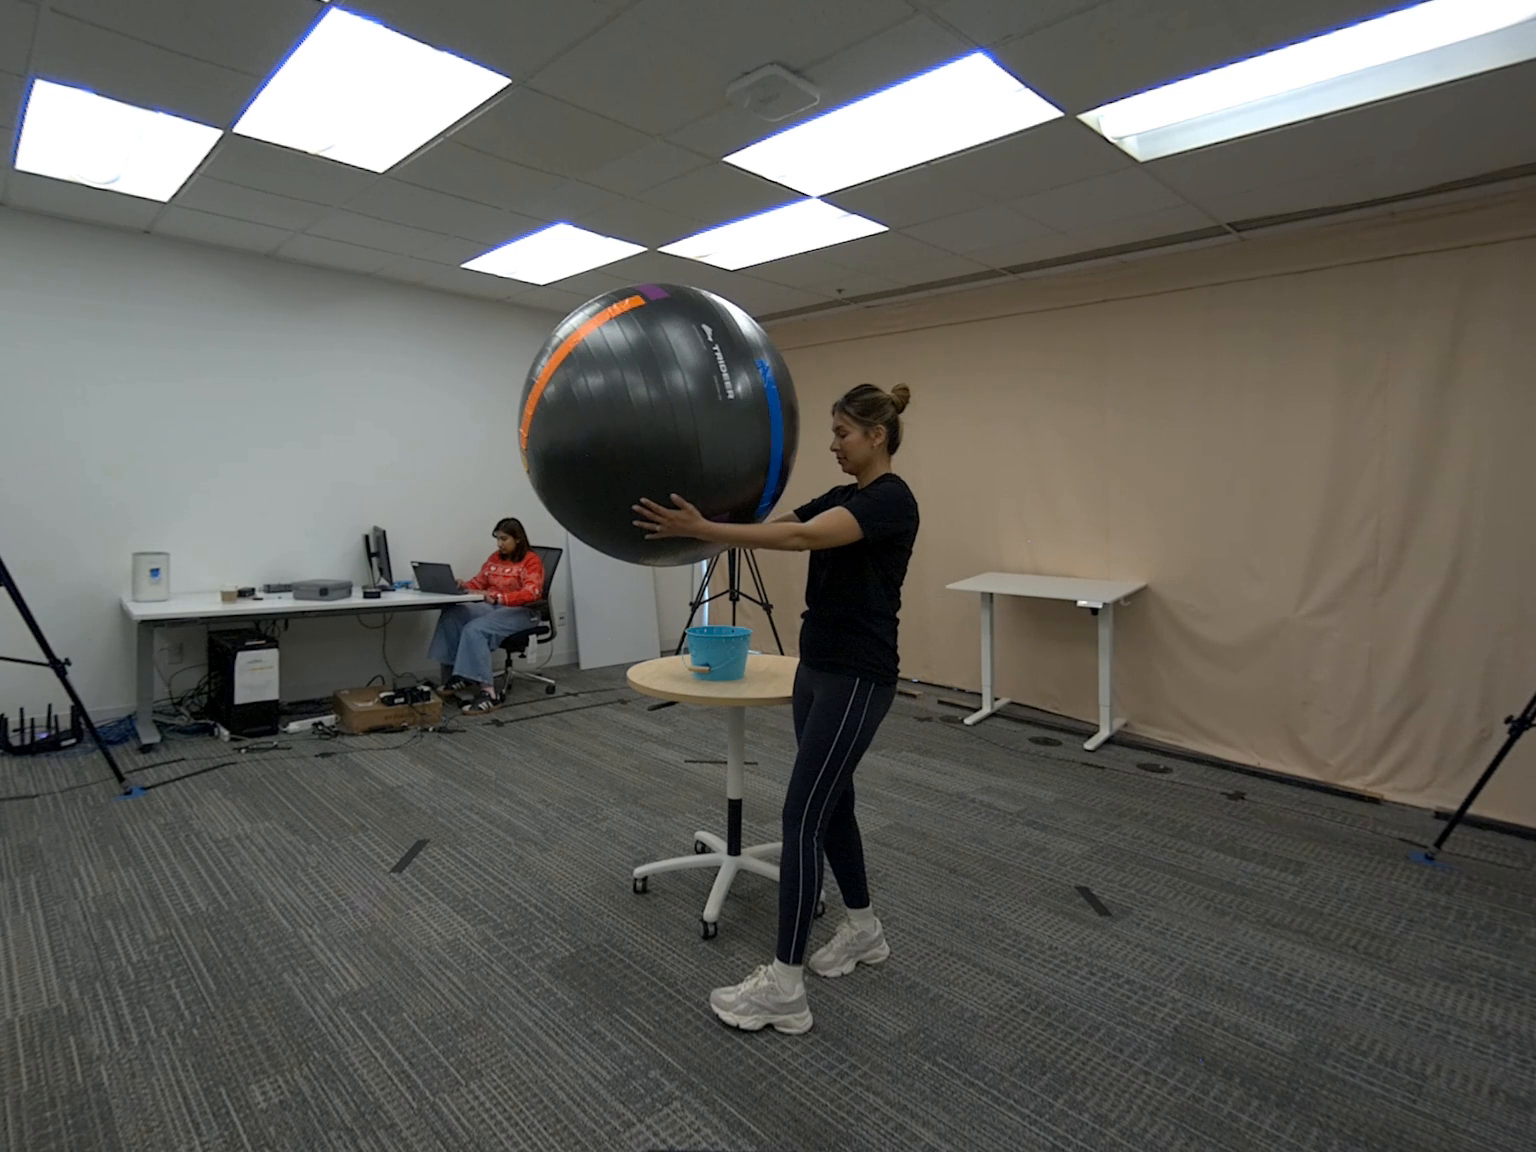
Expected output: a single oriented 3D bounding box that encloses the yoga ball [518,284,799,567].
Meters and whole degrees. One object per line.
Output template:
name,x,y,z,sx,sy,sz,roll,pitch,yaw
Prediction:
yoga ball,-0.296,-0.398,2.292,0.757,0.756,0.761,1,4,-1
